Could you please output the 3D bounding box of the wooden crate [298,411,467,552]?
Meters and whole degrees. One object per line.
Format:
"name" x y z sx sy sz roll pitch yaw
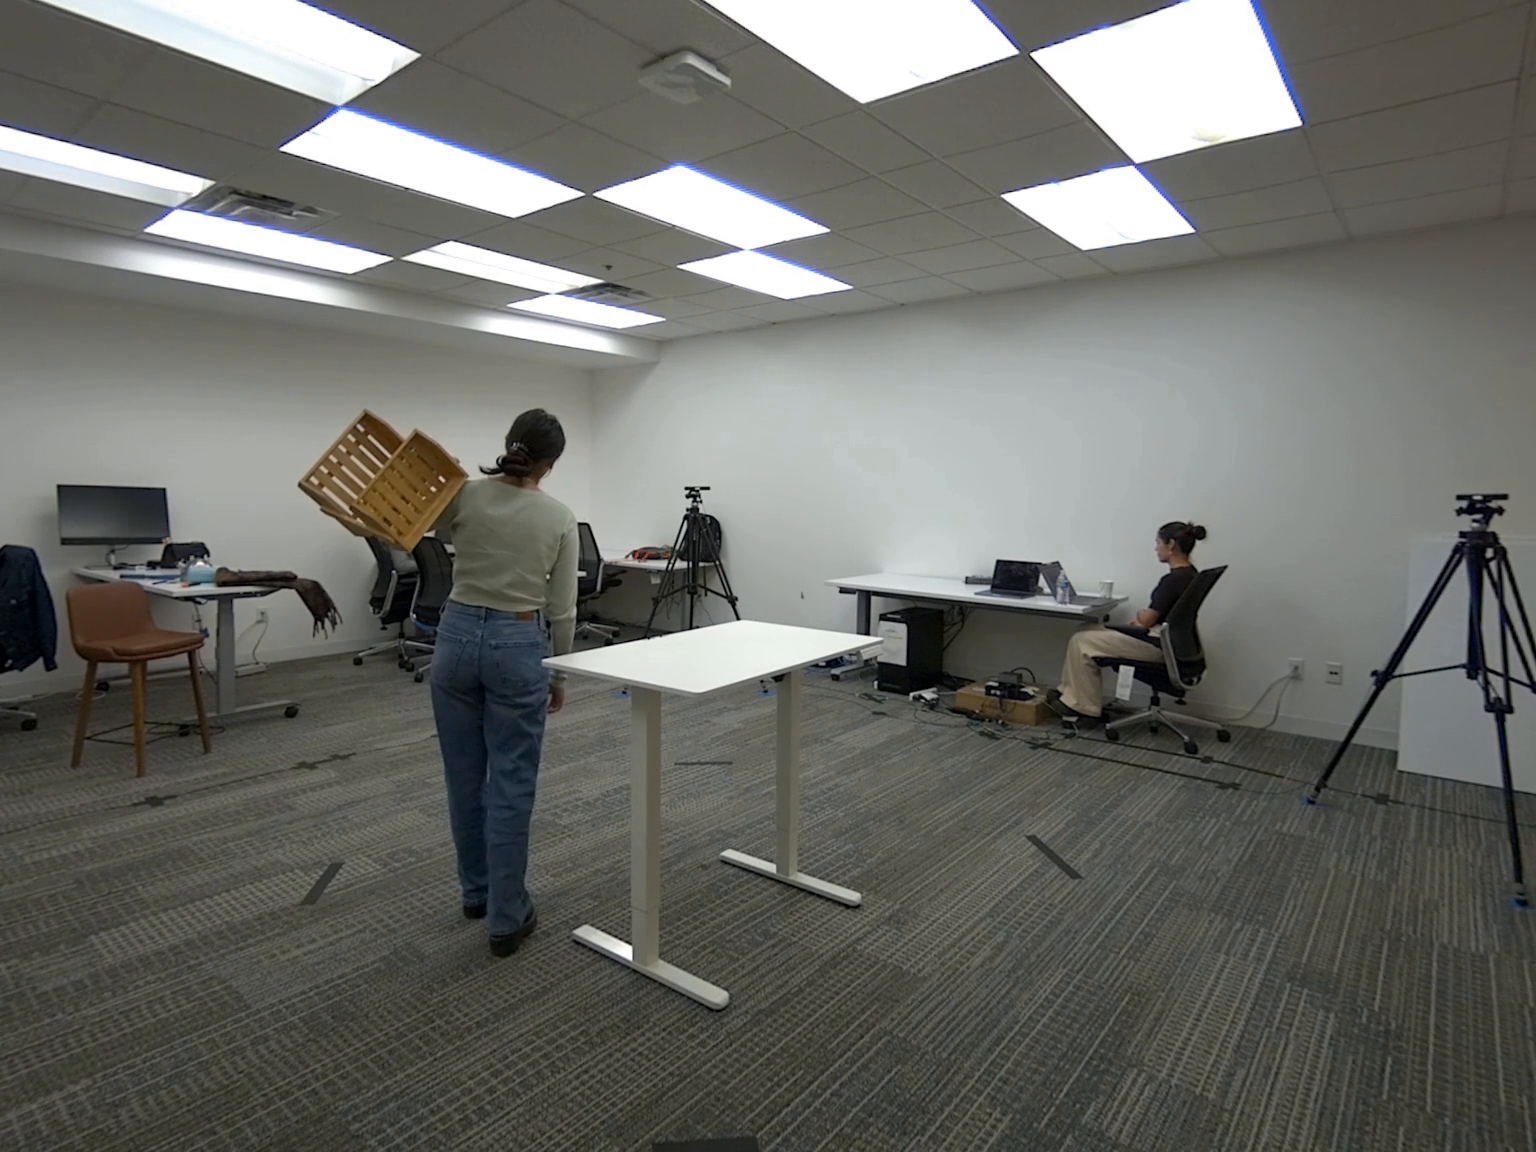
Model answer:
"wooden crate" -1.160 -0.297 2.542 0.283 0.327 0.290 6 -34 39
